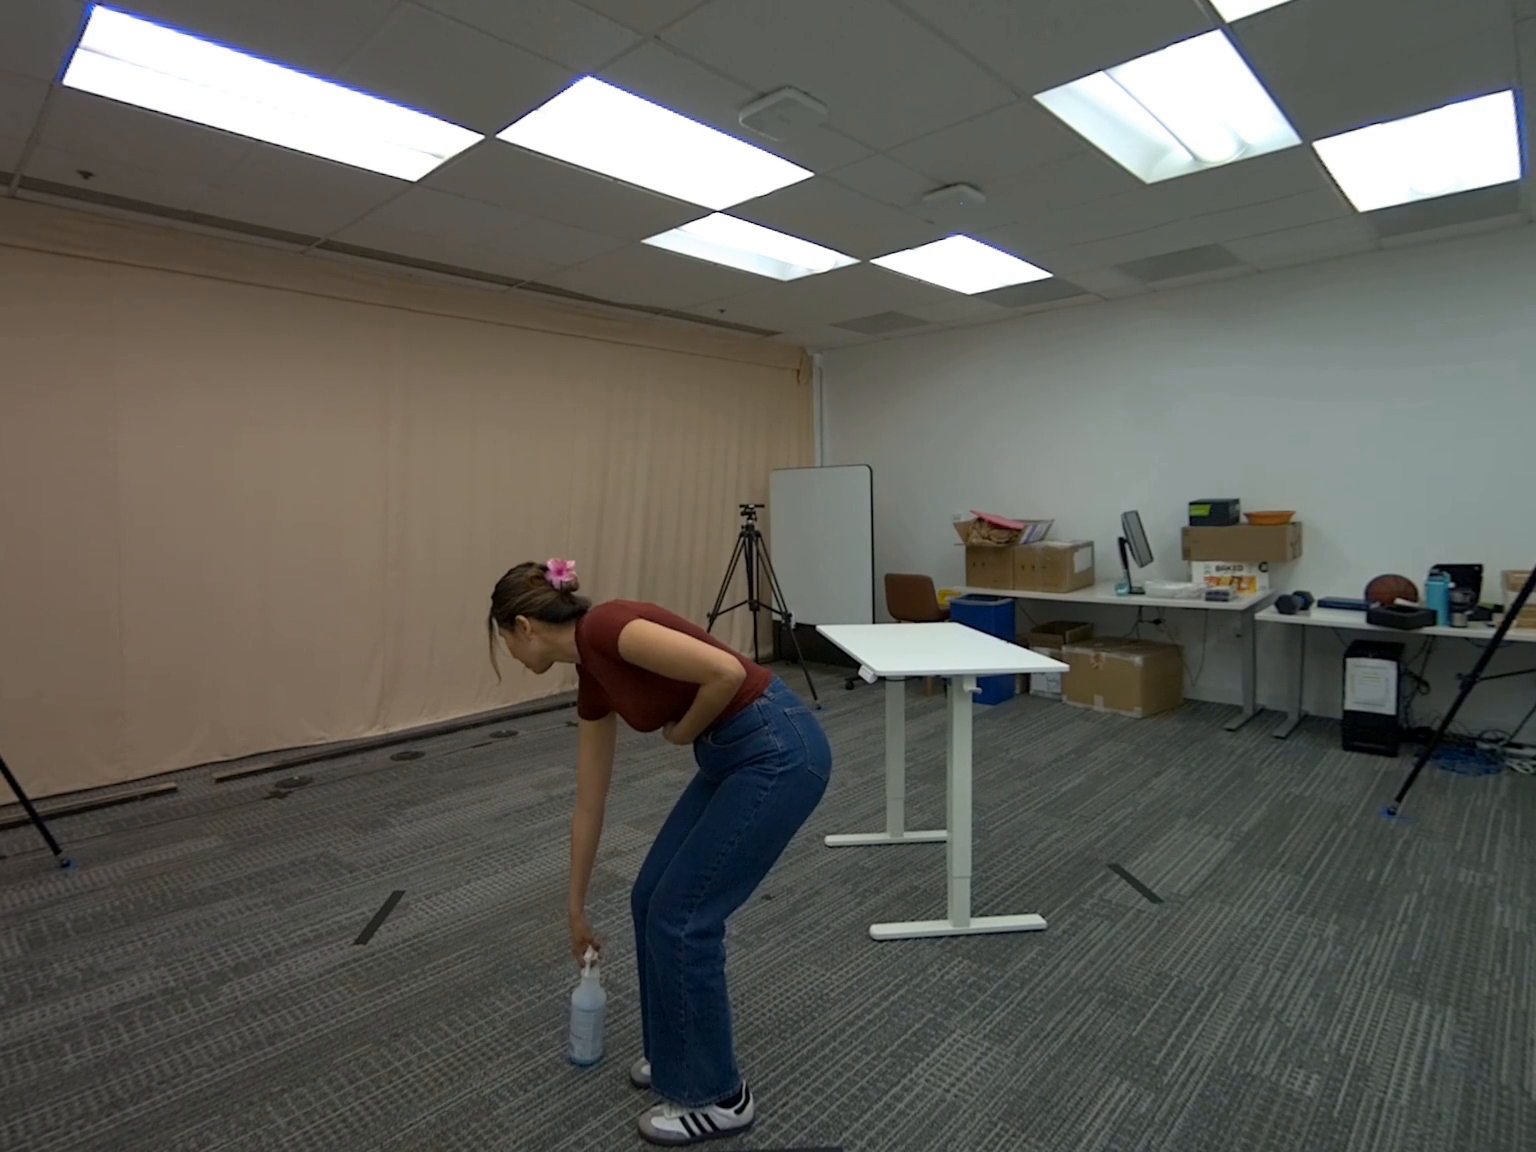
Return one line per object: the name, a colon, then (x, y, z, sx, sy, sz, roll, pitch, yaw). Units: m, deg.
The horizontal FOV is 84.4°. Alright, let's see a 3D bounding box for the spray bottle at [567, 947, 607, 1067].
spray bottle: (-0.446, 1.062, 2.111, 0.089, 0.296, 0.088, 9, 7, 27)
